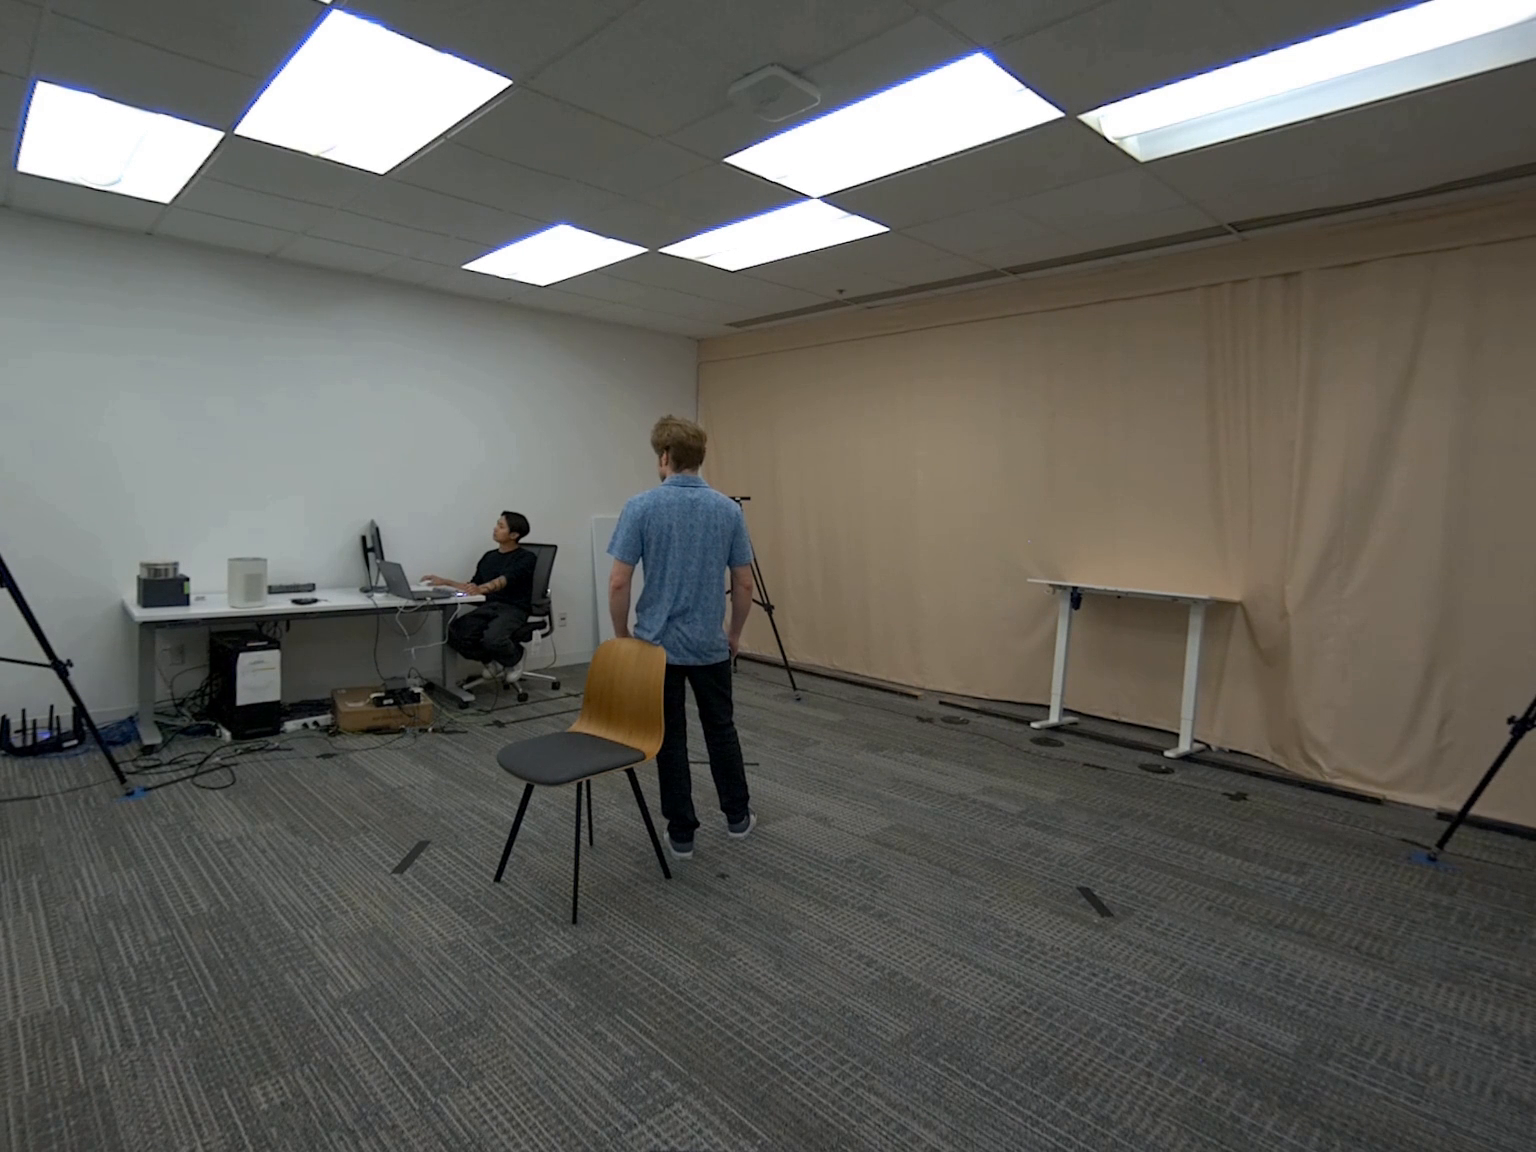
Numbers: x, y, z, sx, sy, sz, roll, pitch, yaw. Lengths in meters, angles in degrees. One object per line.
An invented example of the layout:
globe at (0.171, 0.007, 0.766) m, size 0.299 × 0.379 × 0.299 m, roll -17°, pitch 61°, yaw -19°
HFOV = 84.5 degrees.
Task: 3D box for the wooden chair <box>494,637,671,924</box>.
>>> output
wooden chair at (-0.664, 0.679, 2.997) m, size 0.490 × 0.877 × 0.510 m, roll 4°, pitch 0°, yaw 39°
